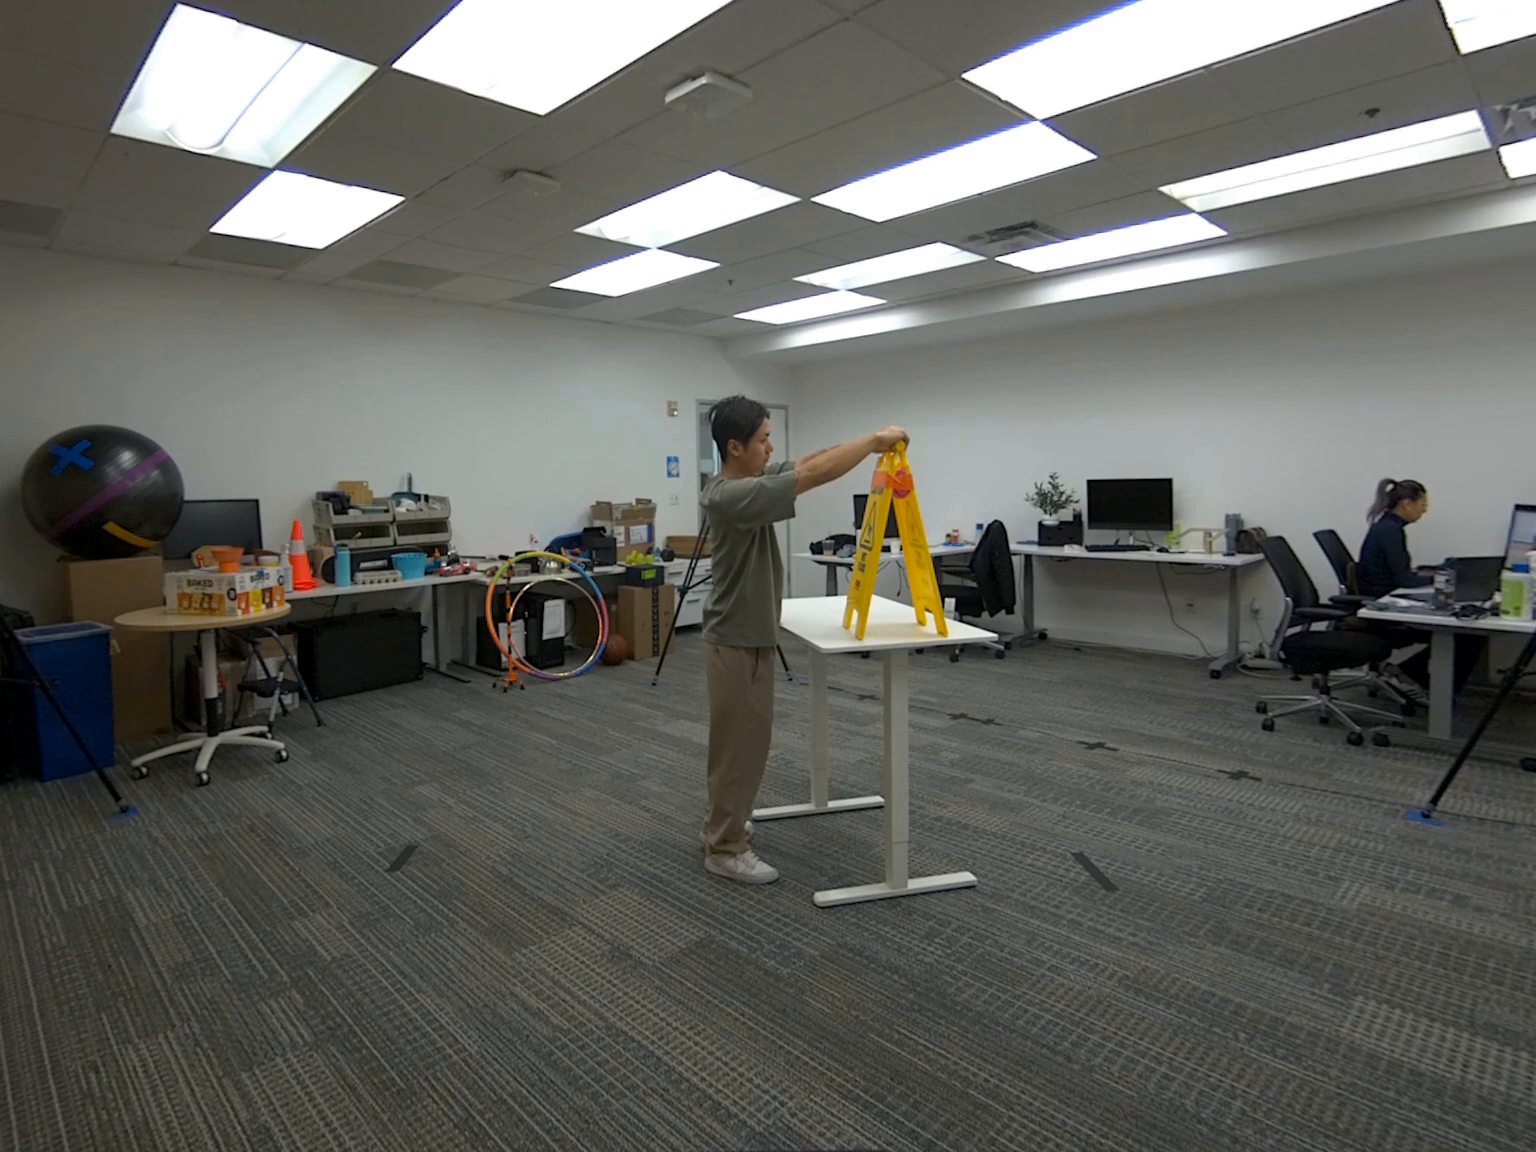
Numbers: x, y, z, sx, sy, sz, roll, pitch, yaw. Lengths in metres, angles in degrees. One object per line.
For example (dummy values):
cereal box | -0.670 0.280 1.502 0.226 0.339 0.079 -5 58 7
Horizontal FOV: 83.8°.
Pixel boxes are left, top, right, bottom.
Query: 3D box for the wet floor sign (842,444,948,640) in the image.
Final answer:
wet floor sign | 0.411 -0.132 2.833 0.288 0.642 0.285 -1 7 -6
